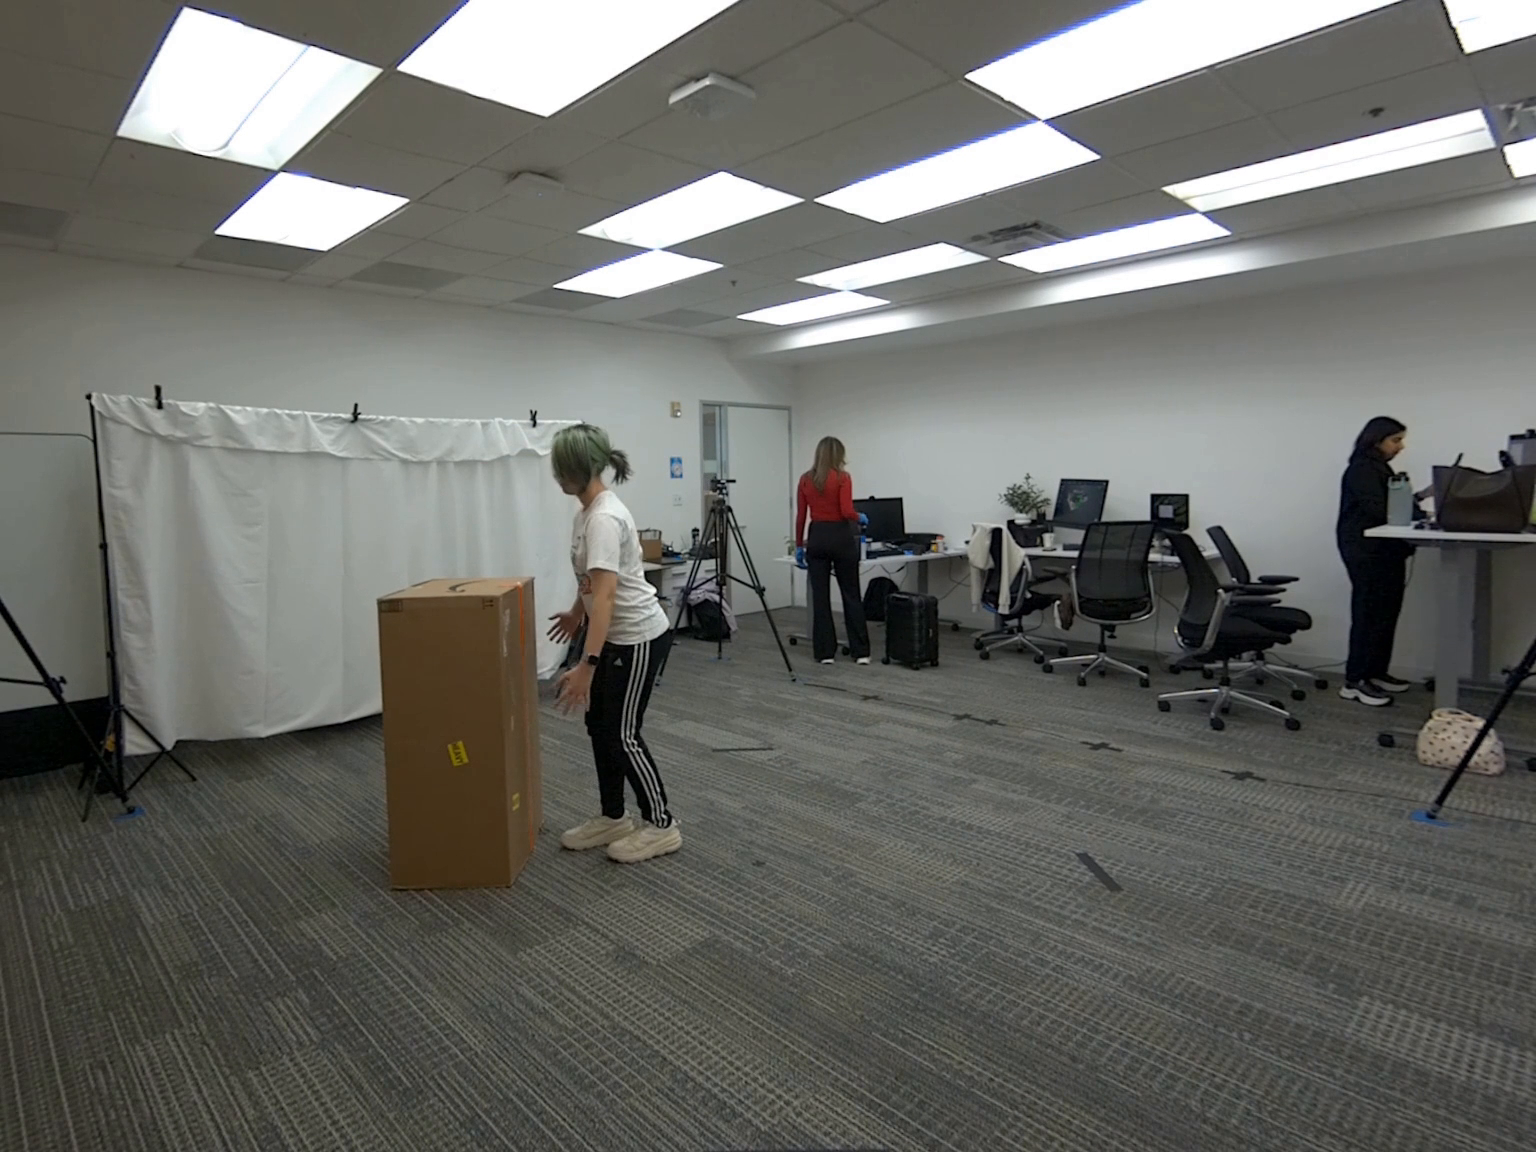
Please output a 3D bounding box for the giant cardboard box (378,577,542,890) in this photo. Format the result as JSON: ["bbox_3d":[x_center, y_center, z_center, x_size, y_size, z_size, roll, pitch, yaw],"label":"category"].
[{"bbox_3d":[-1.130,0.551,3.224,0.446,1.024,0.587,-2,4,-3],"label":"giant cardboard box"}]
